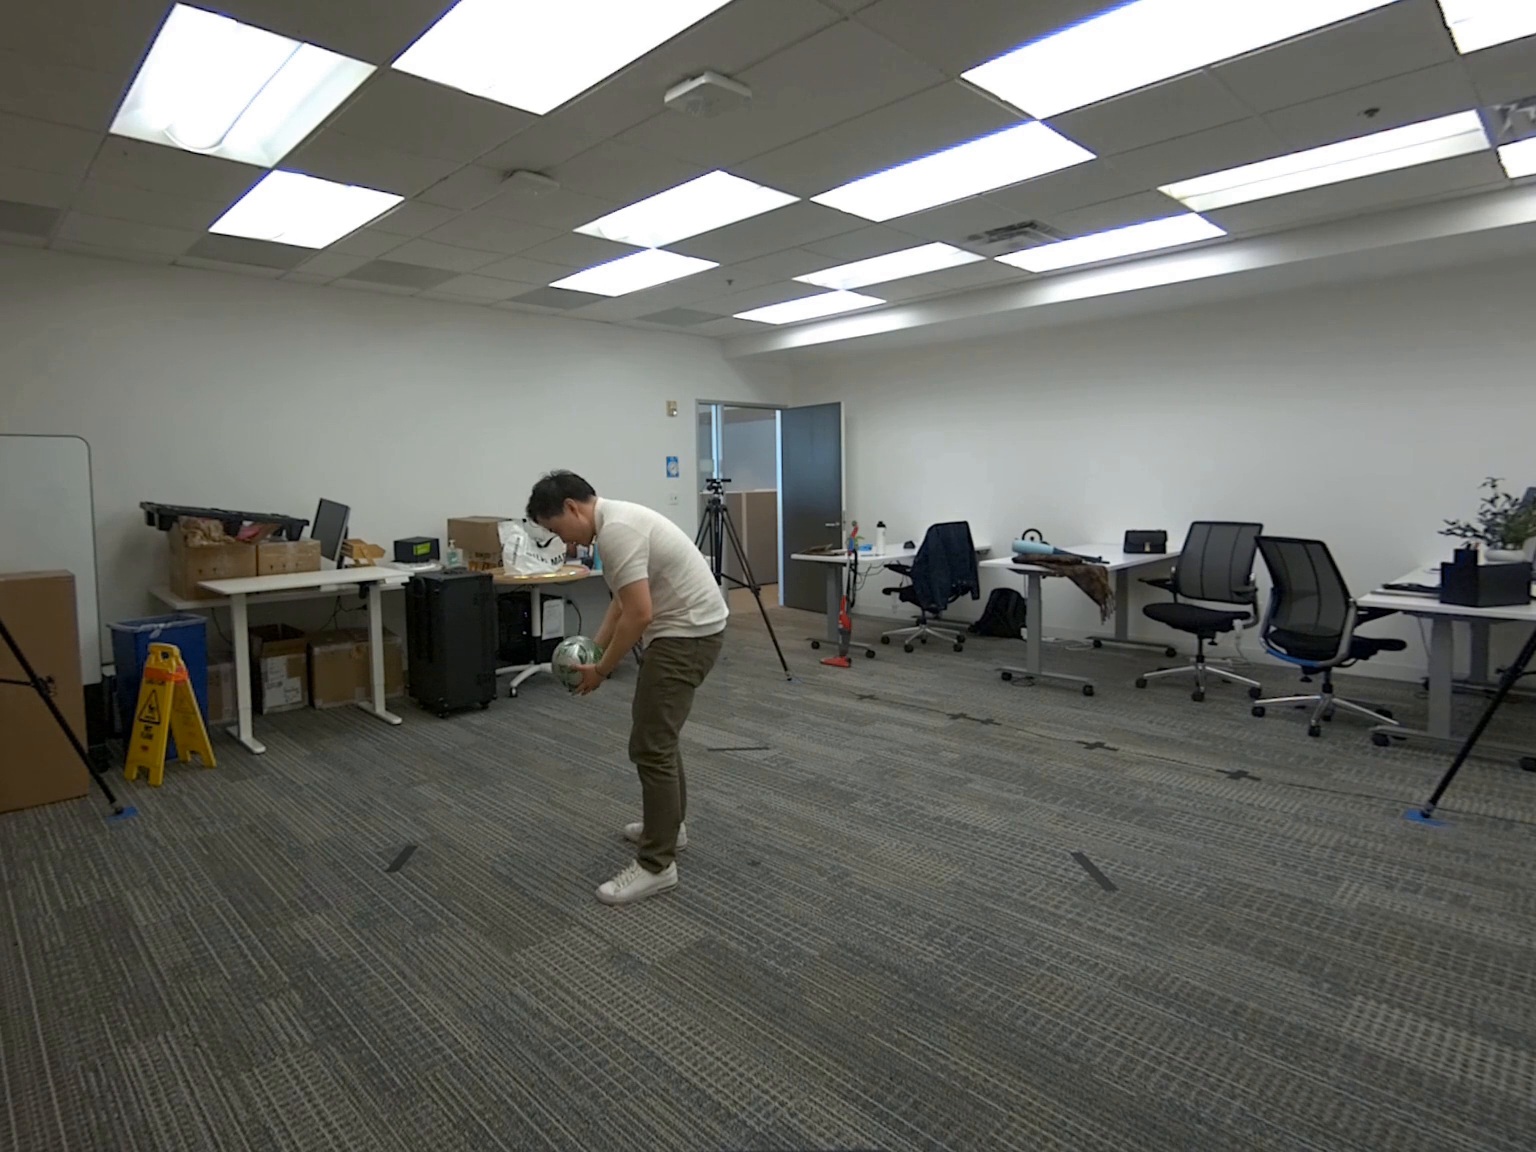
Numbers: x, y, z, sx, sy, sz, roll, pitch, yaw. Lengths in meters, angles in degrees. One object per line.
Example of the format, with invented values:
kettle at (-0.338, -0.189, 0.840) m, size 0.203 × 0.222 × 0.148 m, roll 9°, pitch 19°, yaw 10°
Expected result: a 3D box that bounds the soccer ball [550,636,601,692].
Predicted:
soccer ball at (-0.653, 0.305, 2.979) m, size 0.187 × 0.187 × 0.188 m, roll -1°, pitch 5°, yaw -2°
